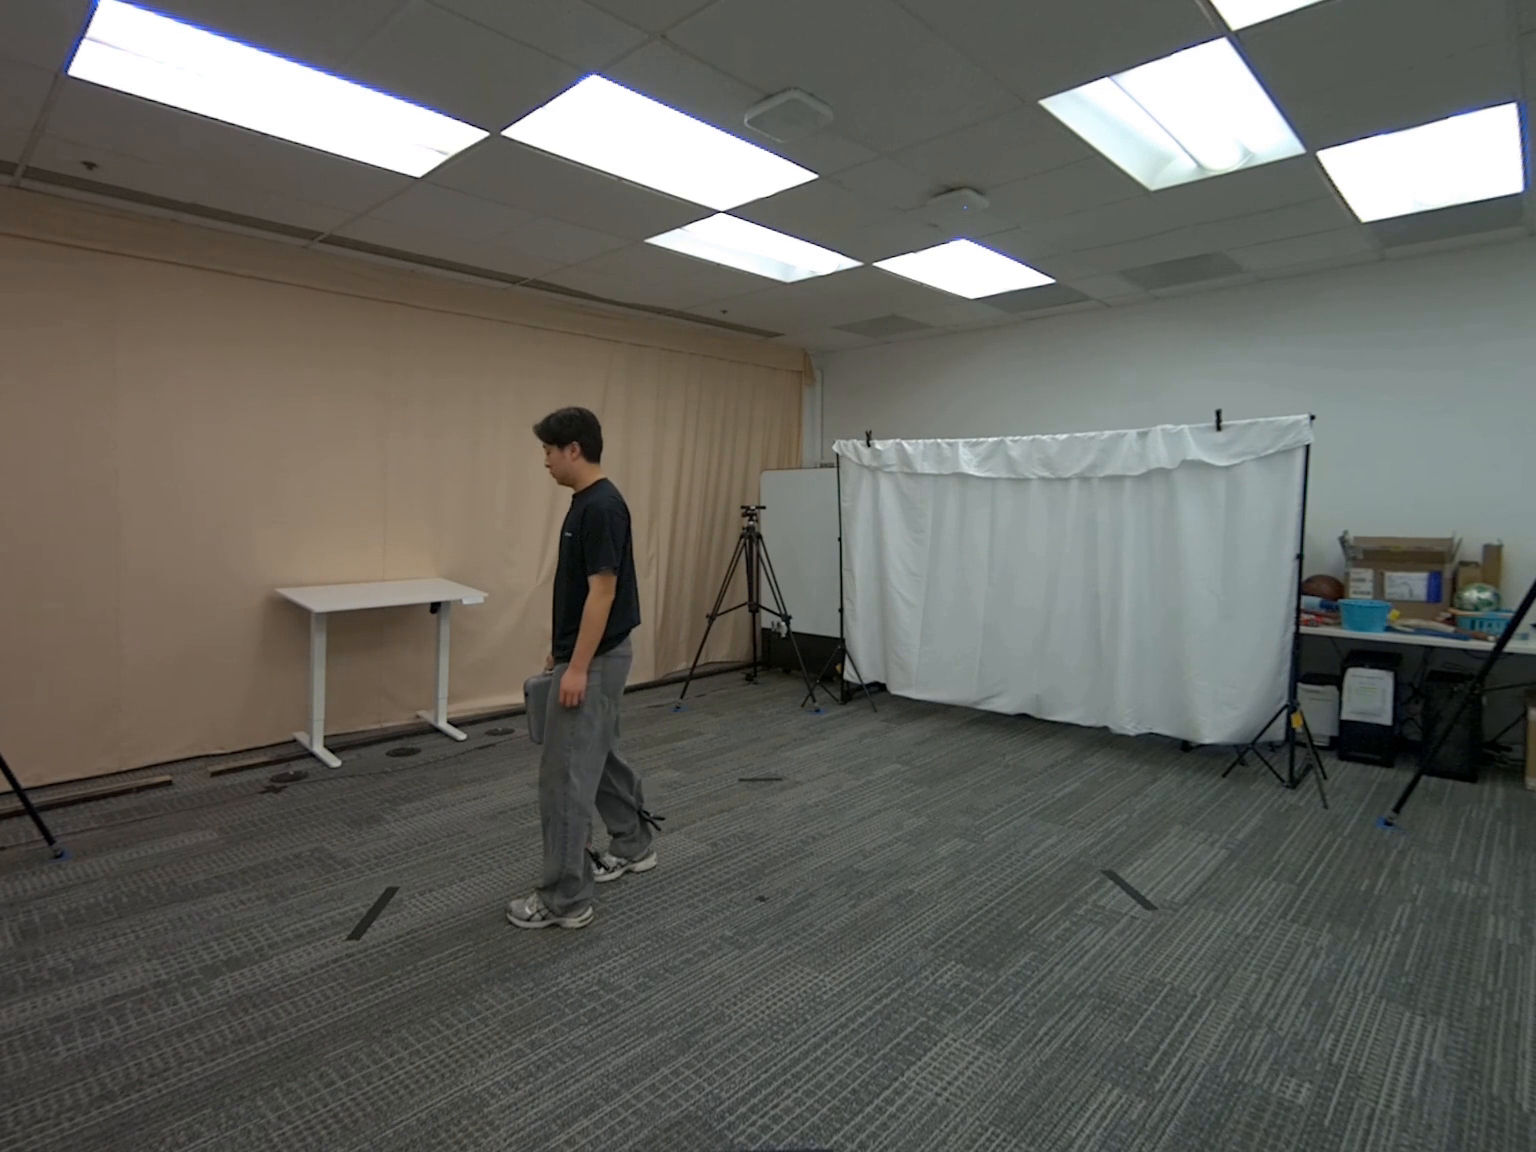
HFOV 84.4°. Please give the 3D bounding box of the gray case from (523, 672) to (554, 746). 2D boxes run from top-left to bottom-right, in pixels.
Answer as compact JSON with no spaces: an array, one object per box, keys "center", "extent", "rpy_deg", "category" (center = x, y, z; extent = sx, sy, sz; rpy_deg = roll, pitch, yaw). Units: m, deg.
[{"center":[-0.799,0.487,3.267],"extent":[0.257,0.286,0.105],"rpy_deg":[-10,4,-26],"category":"gray case"}]
